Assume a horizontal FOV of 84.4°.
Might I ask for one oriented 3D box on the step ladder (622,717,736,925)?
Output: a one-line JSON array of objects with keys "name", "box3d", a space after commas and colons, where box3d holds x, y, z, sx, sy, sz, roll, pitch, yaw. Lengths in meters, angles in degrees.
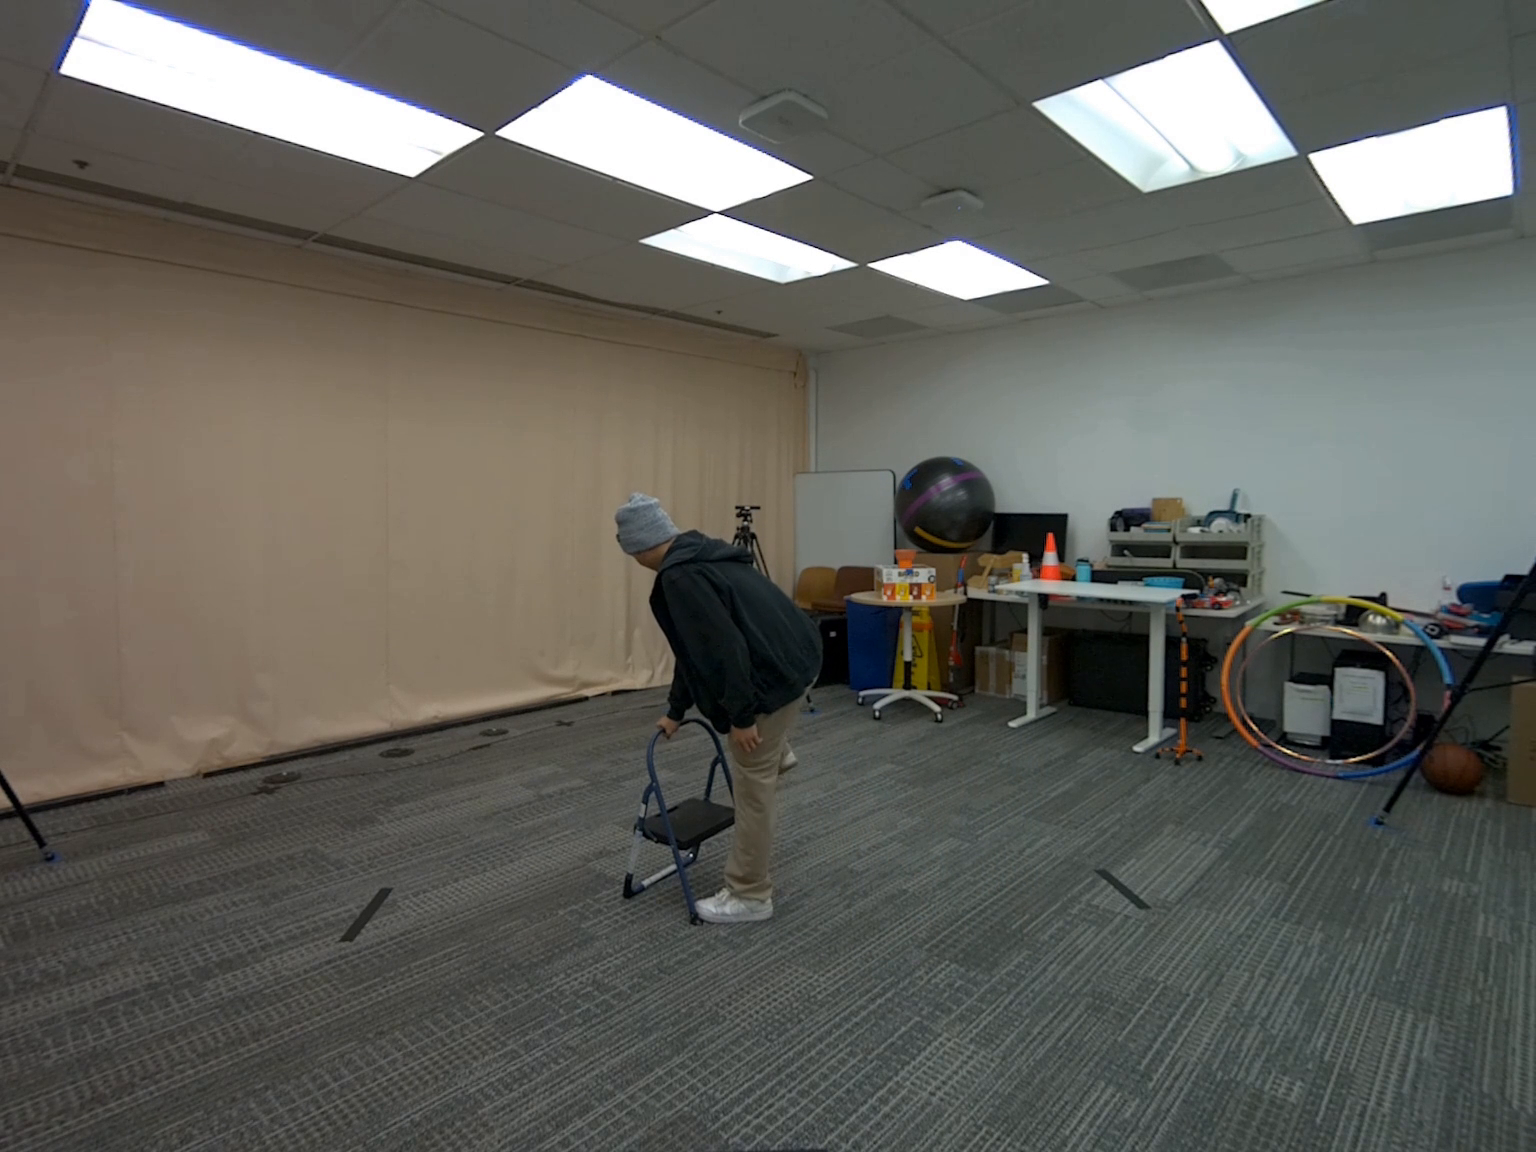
[{"name": "step ladder", "box3d": [-0.267, 0.837, 3.050, 0.360, 0.605, 0.418, 2, 4, 34]}]
